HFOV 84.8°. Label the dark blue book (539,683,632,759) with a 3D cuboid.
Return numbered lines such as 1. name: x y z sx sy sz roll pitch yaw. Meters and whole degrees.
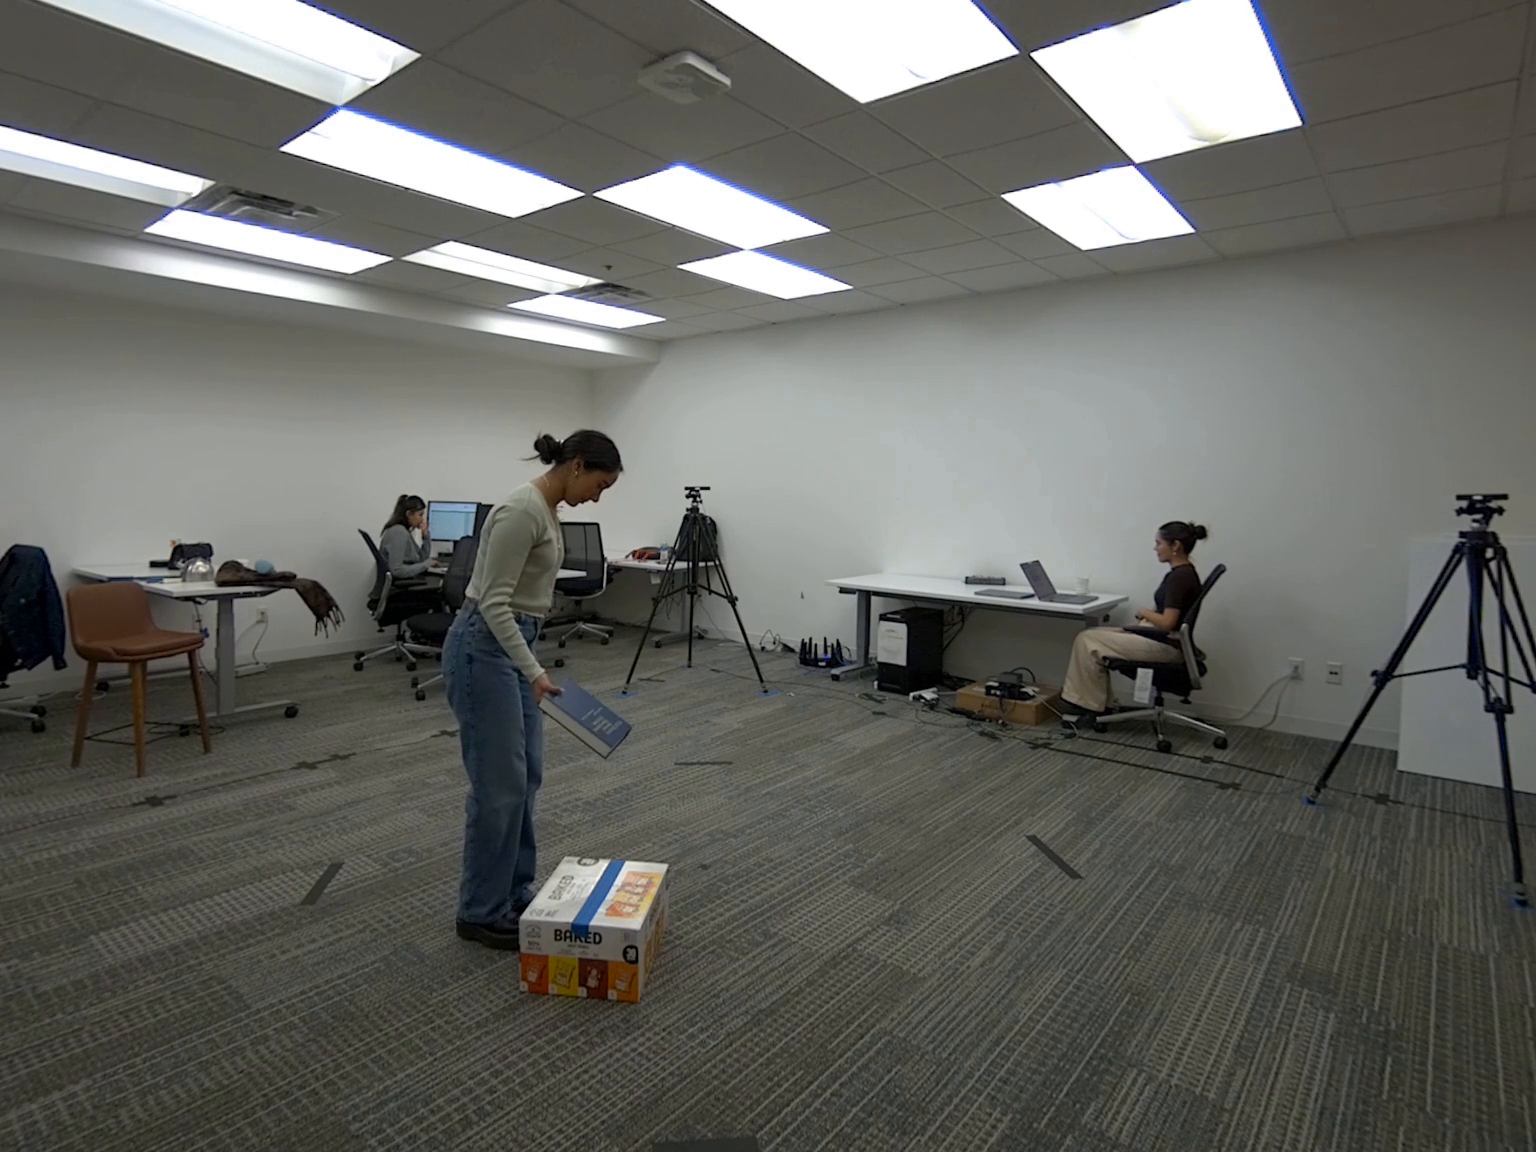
1. dark blue book: -0.532 0.404 2.429 0.248 0.045 0.162 35 17 8
